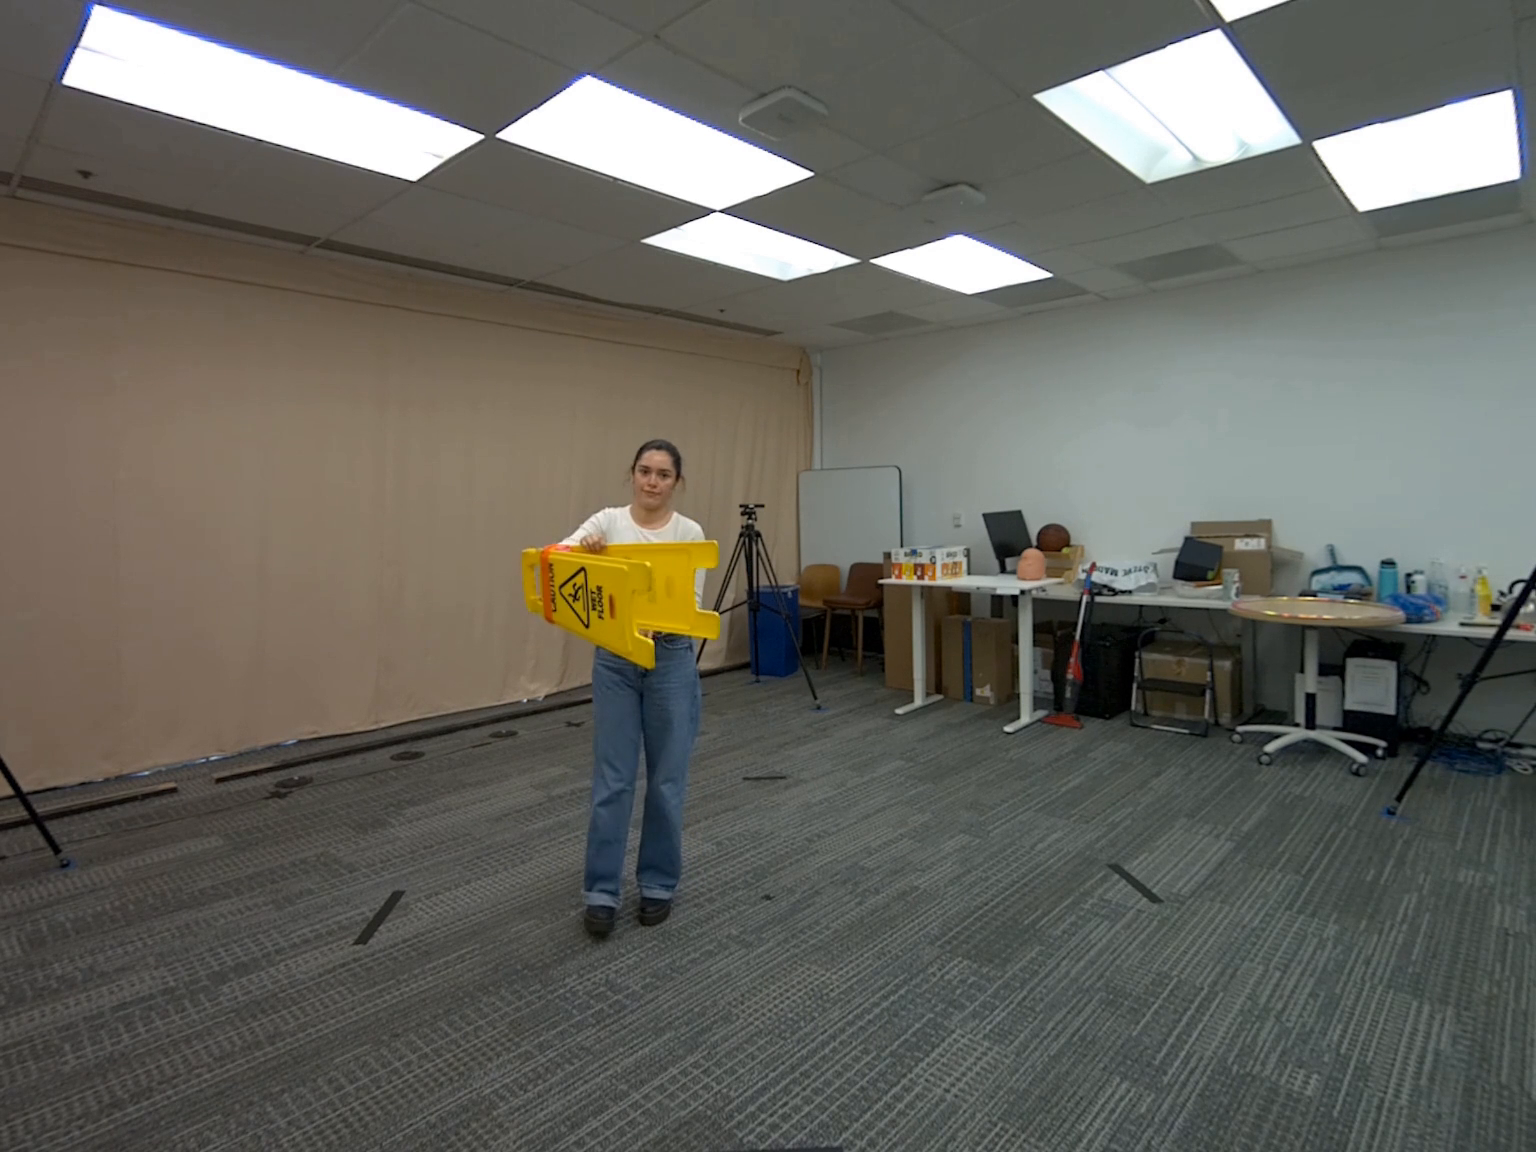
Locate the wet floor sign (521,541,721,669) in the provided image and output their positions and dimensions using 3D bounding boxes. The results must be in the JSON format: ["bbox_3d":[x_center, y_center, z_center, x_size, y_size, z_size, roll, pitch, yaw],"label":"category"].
[{"bbox_3d":[-0.472,0.040,2.452,0.667,0.280,0.283,6,15,35],"label":"wet floor sign"}]
